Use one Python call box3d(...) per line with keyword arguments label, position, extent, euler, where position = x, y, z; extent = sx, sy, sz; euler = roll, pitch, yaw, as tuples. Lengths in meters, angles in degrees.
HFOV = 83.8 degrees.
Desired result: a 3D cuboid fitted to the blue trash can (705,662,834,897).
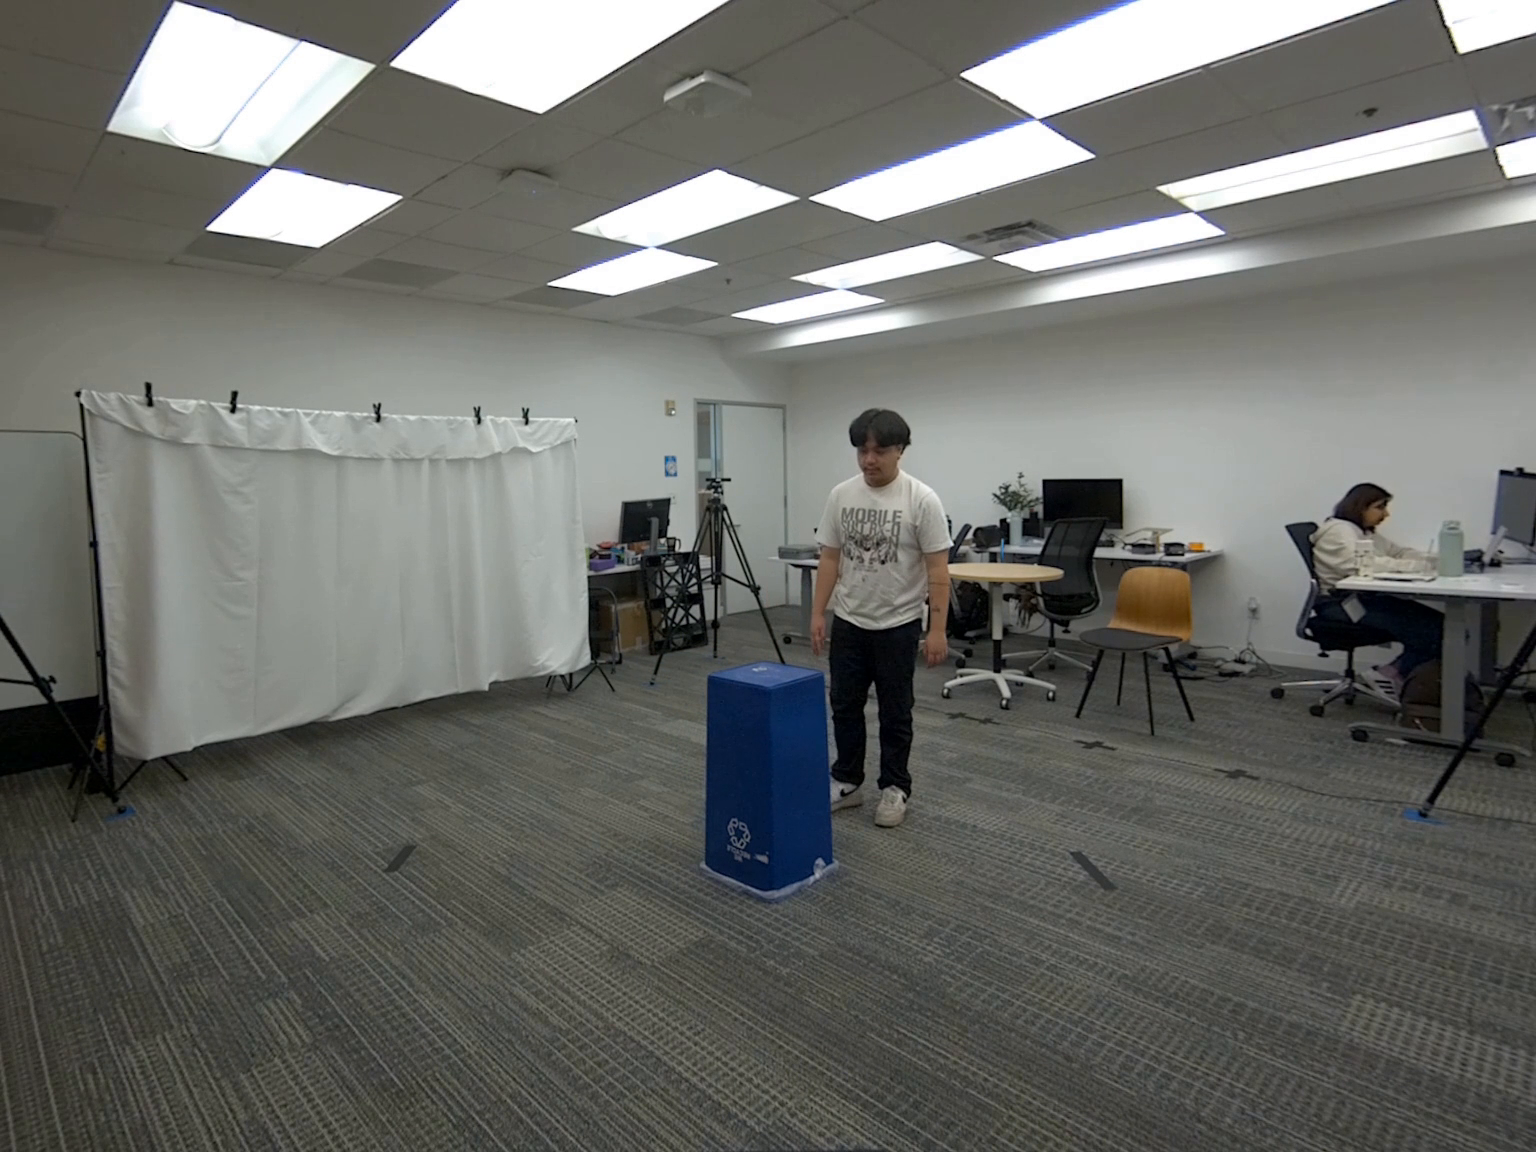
box3d(label="blue trash can", position=(-0.004, 0.695, 3.038), extent=(0.385, 0.712, 0.368), euler=(2, 4, 44))
